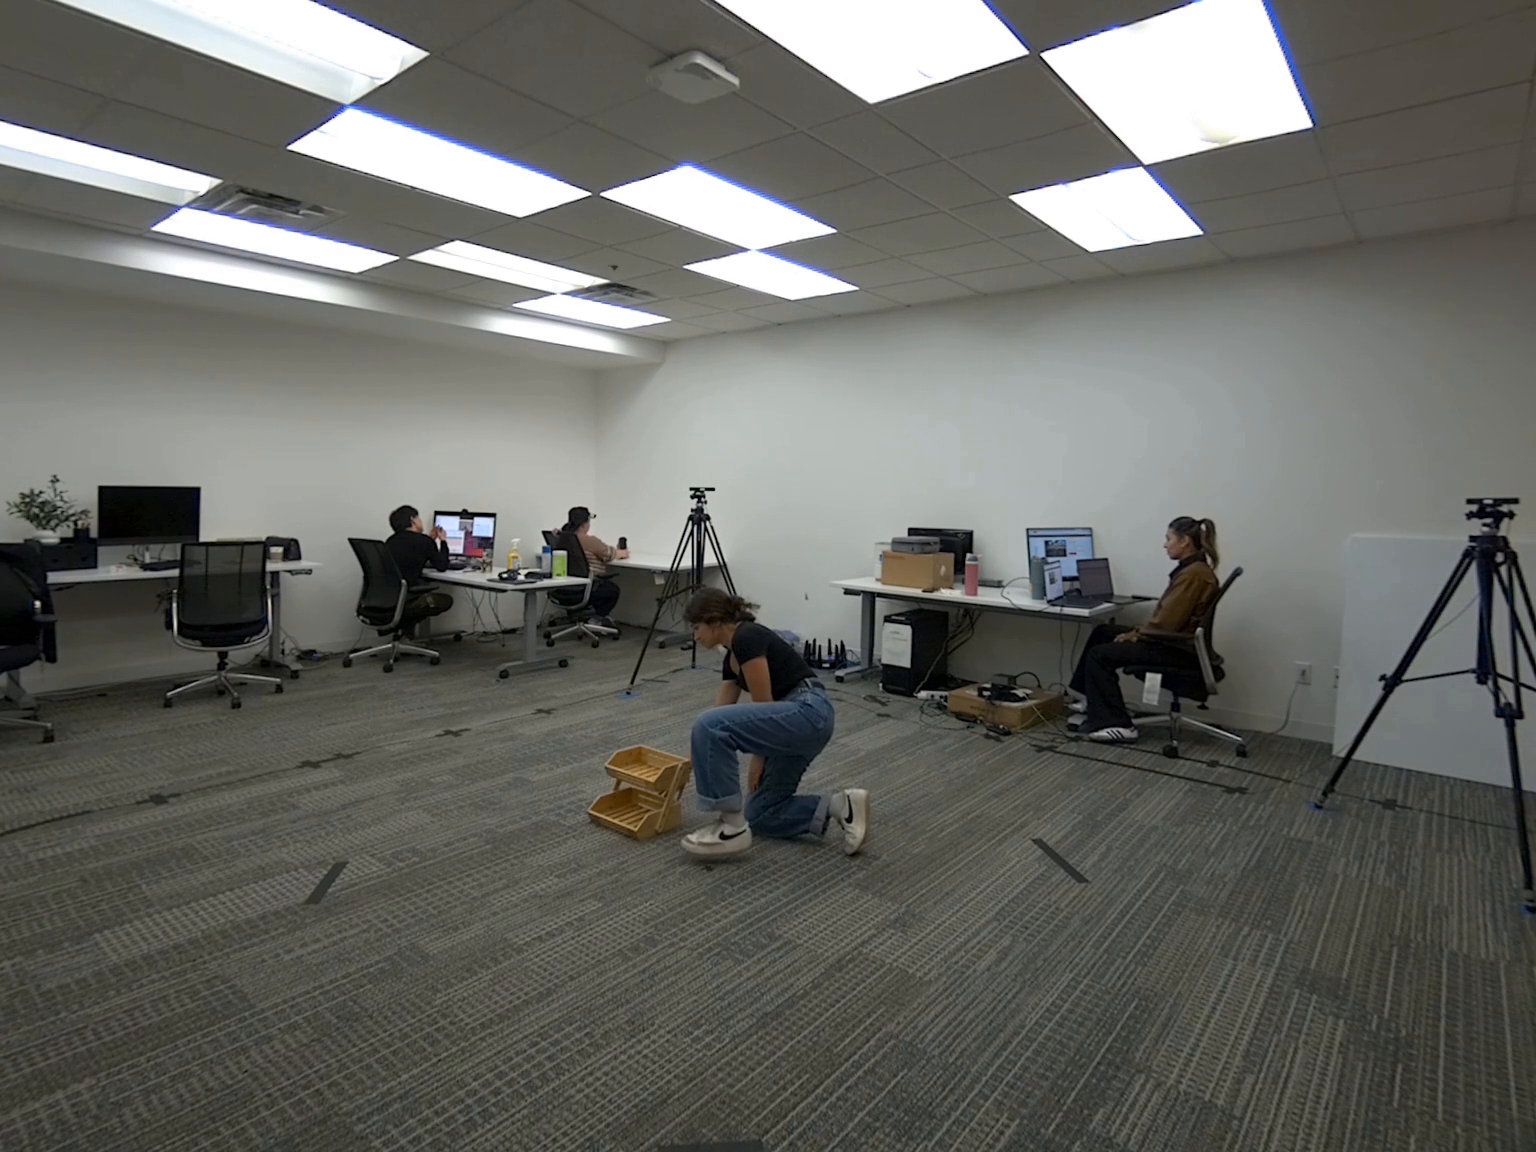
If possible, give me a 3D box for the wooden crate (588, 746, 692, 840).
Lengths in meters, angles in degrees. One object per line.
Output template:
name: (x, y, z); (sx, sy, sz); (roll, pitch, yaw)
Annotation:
wooden crate: (-0.551, 0.888, 3.540); (0.335, 0.272, 0.293); (5, 5, 39)
